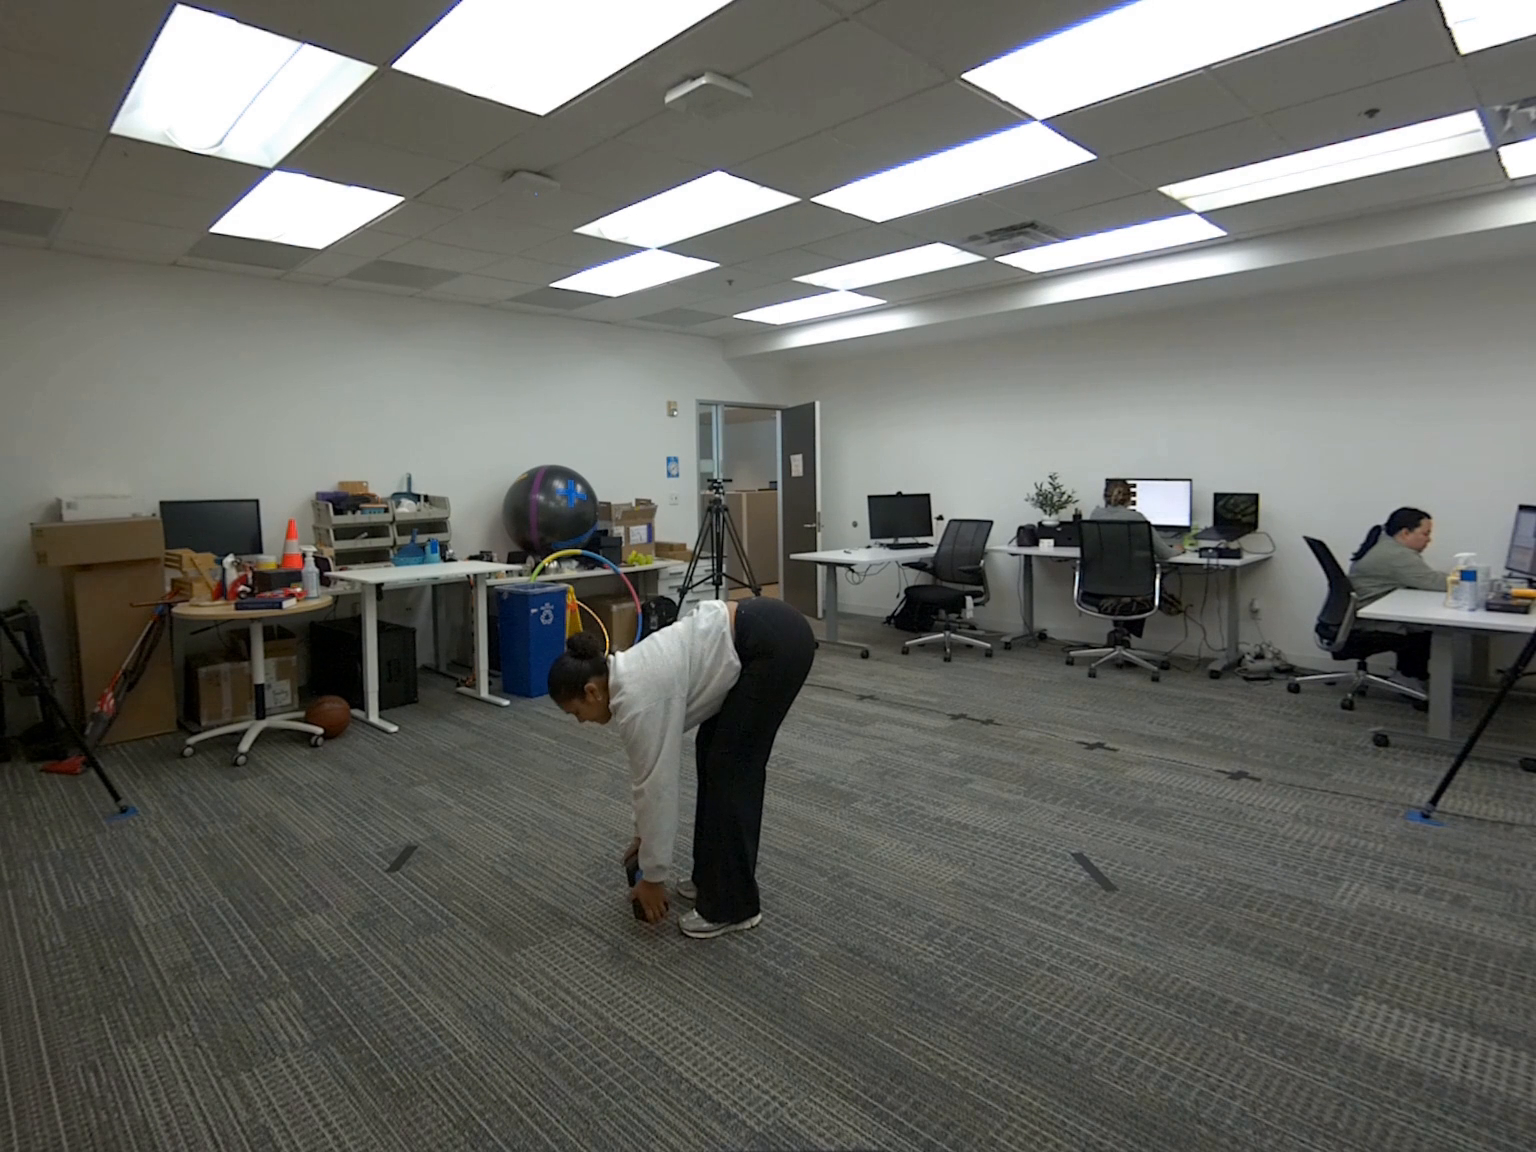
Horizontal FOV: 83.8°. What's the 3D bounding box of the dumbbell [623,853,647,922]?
[{"bbox_3d":[-0.377,0.986,2.739,0.123,0.107,0.299,-46,15,-5],"label":"dumbbell"}]
